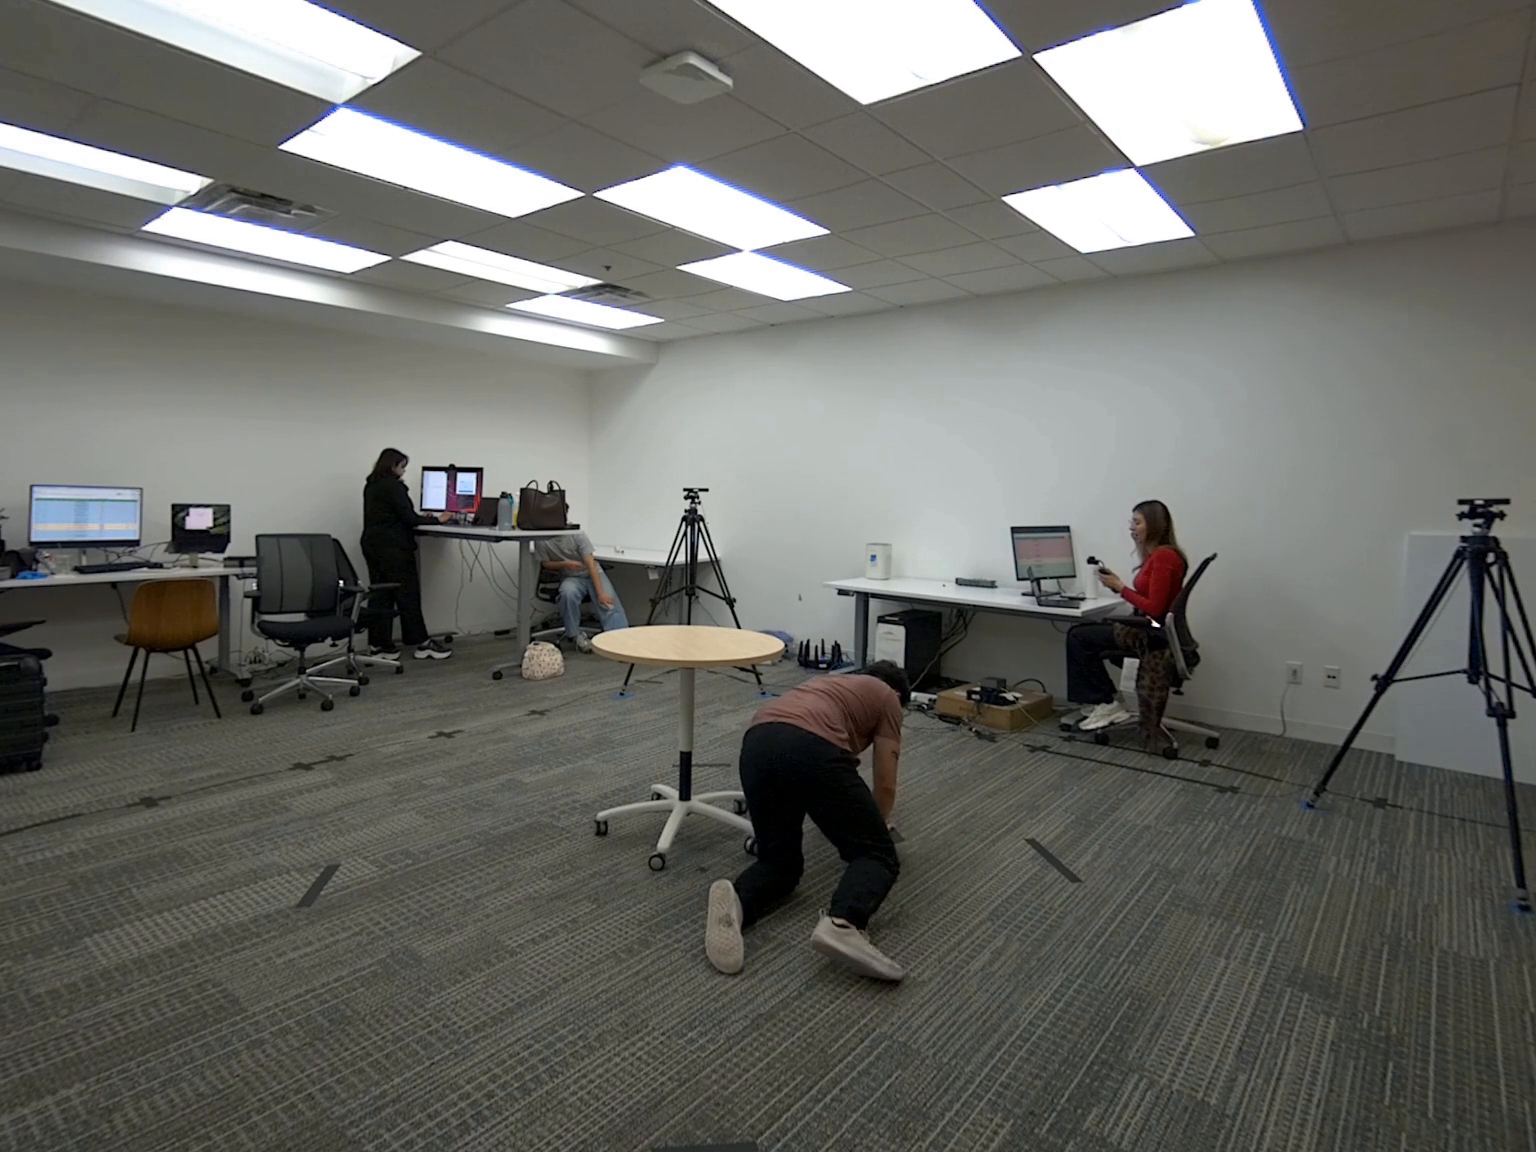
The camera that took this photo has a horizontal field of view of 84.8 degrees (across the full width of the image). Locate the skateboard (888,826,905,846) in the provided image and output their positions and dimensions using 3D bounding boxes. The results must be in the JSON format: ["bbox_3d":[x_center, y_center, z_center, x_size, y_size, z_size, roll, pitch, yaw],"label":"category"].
[{"bbox_3d":[0.349,0.987,3.499,0.191,0.110,0.797,0,6,-11],"label":"skateboard"}]
